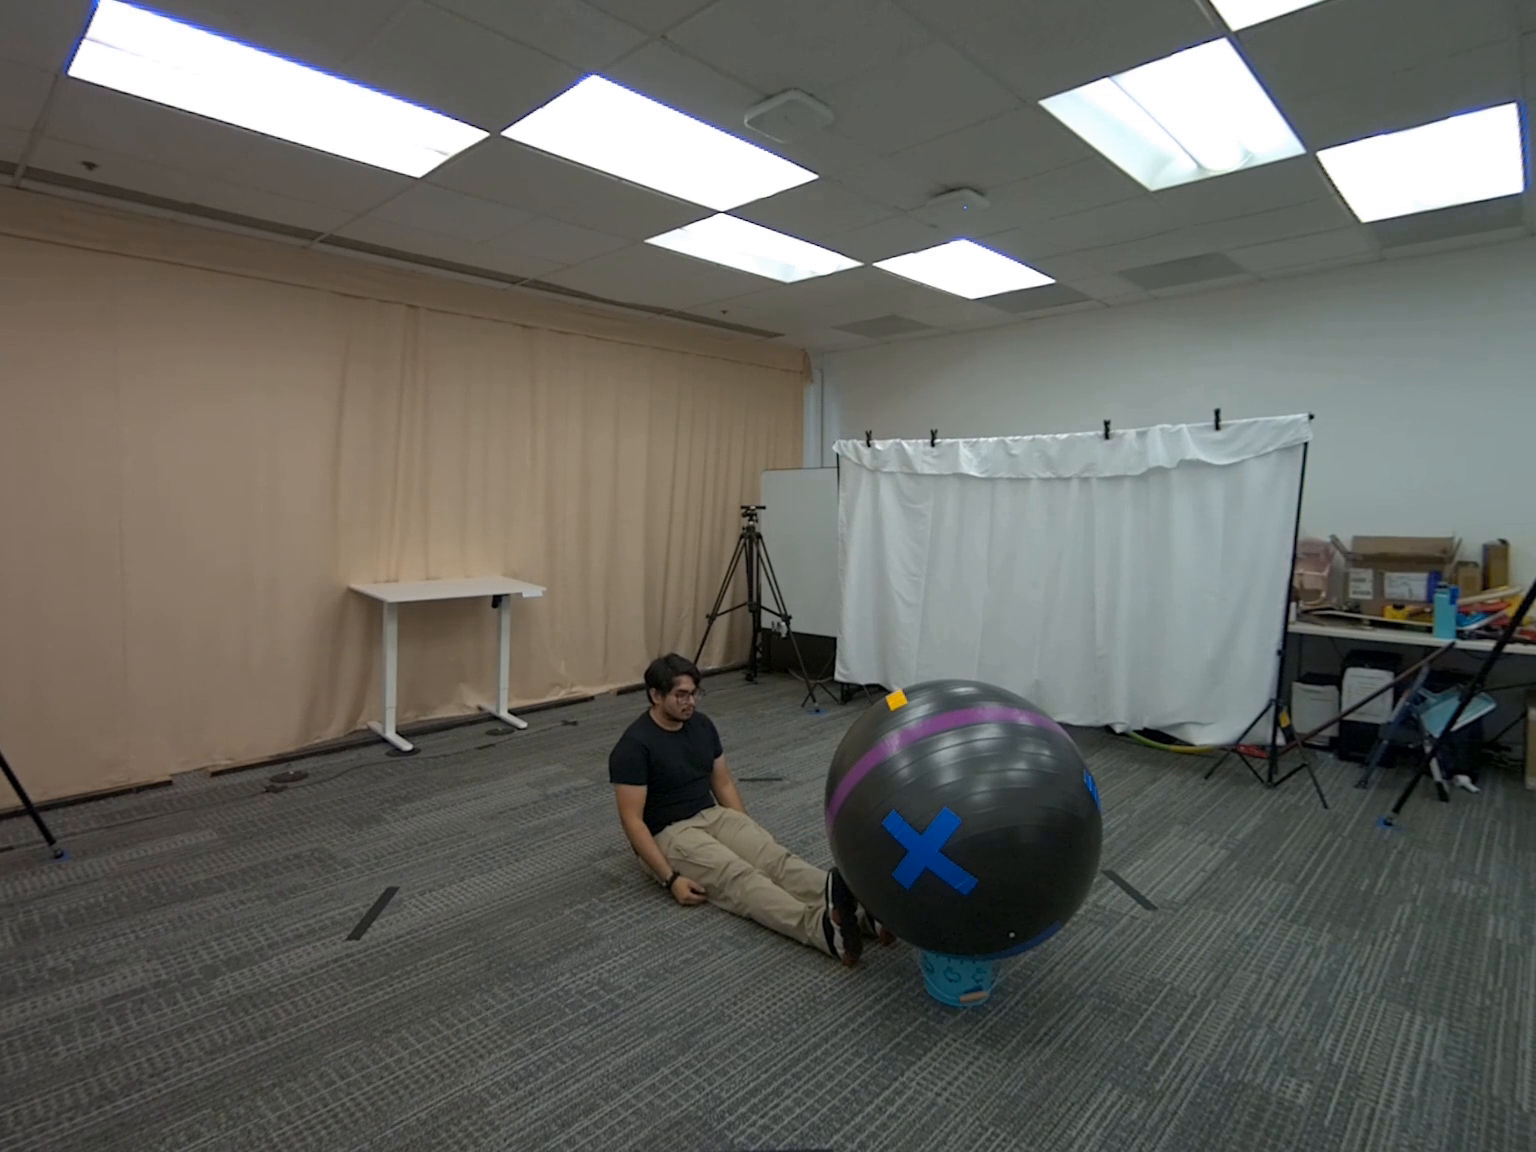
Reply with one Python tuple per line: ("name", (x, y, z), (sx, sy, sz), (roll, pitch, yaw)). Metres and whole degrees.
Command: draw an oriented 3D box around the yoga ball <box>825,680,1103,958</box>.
("yoga ball", (0.551, 0.683, 2.405), (0.757, 0.756, 0.760), (0, 4, -2))
